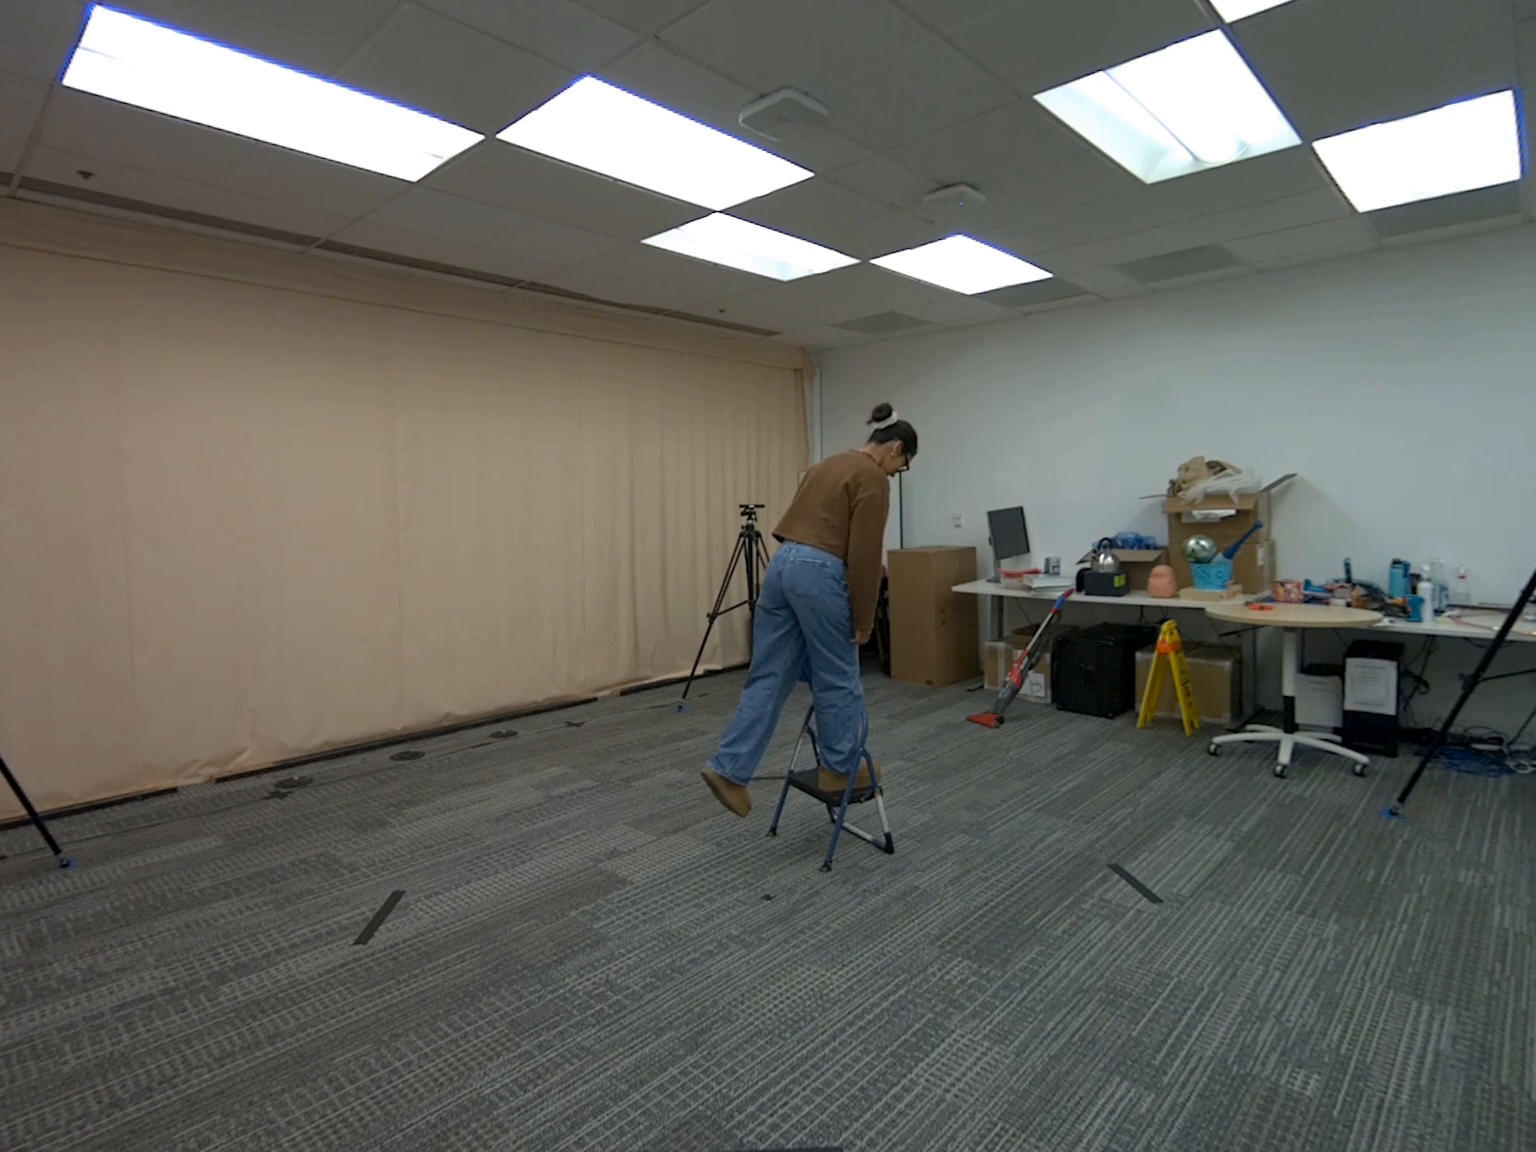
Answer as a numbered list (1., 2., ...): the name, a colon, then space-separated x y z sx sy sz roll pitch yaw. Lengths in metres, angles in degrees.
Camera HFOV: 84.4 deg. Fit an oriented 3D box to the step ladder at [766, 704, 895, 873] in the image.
1. step ladder: 0.249 0.795 3.428 0.340 0.605 0.443 -2 4 -30
